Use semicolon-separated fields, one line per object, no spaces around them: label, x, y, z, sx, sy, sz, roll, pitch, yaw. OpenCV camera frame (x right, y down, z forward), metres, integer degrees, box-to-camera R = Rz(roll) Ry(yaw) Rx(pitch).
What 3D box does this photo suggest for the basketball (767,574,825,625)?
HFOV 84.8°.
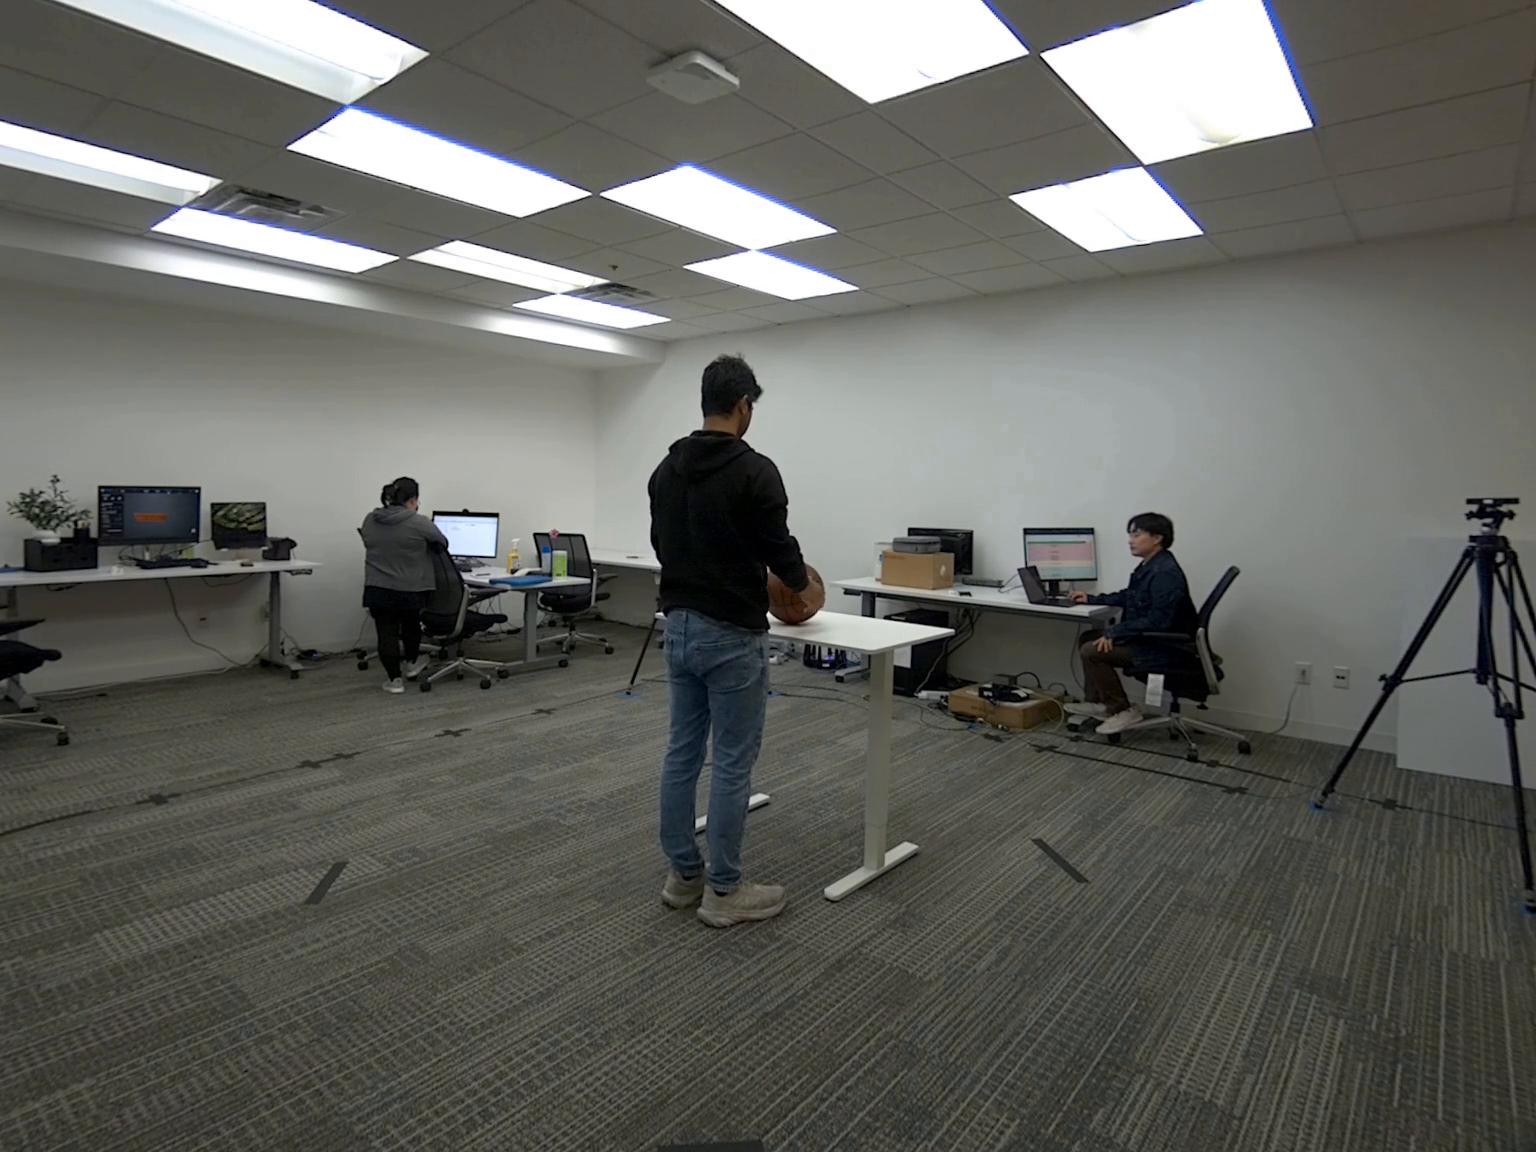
basketball;0.089;0.058;3.234;0.235;0.235;0.237;1;4;-2
